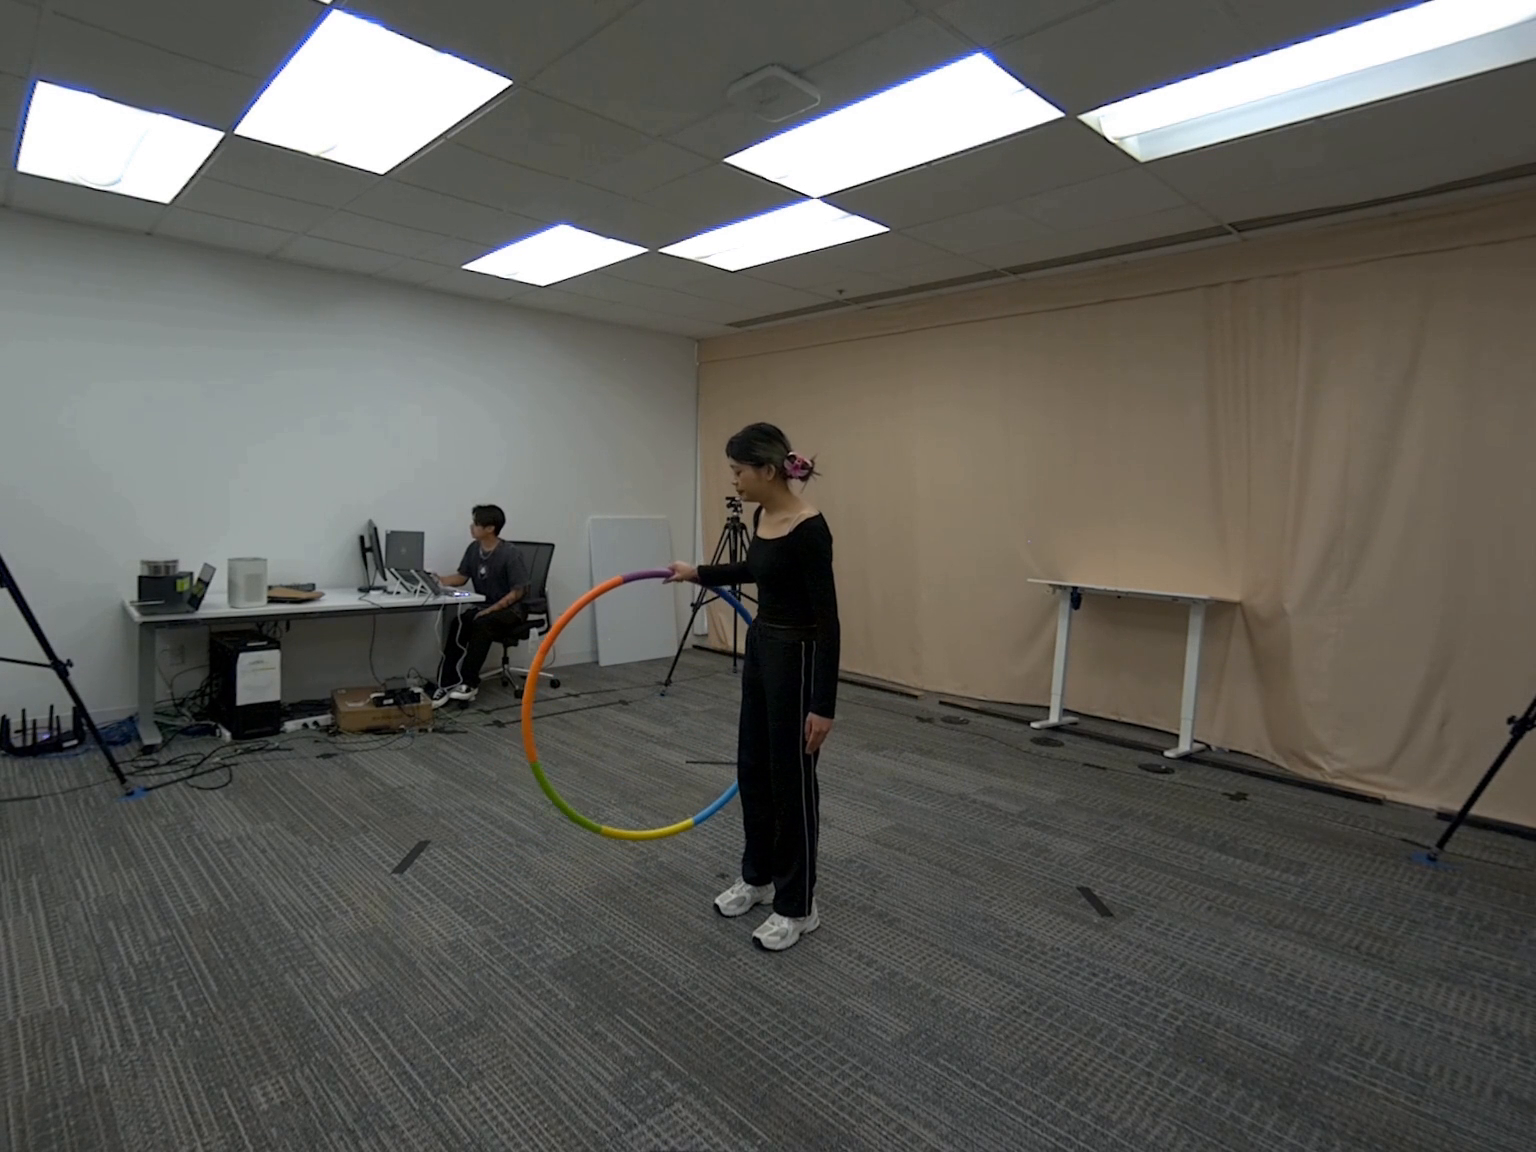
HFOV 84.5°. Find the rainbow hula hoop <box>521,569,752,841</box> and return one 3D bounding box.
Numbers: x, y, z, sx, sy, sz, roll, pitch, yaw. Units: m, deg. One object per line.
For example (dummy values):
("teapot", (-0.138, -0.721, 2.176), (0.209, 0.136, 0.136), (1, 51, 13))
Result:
("rainbow hula hoop", (-0.404, 0.465, 3.043), (0.960, 0.975, 0.036), (-1, 5, -28))
